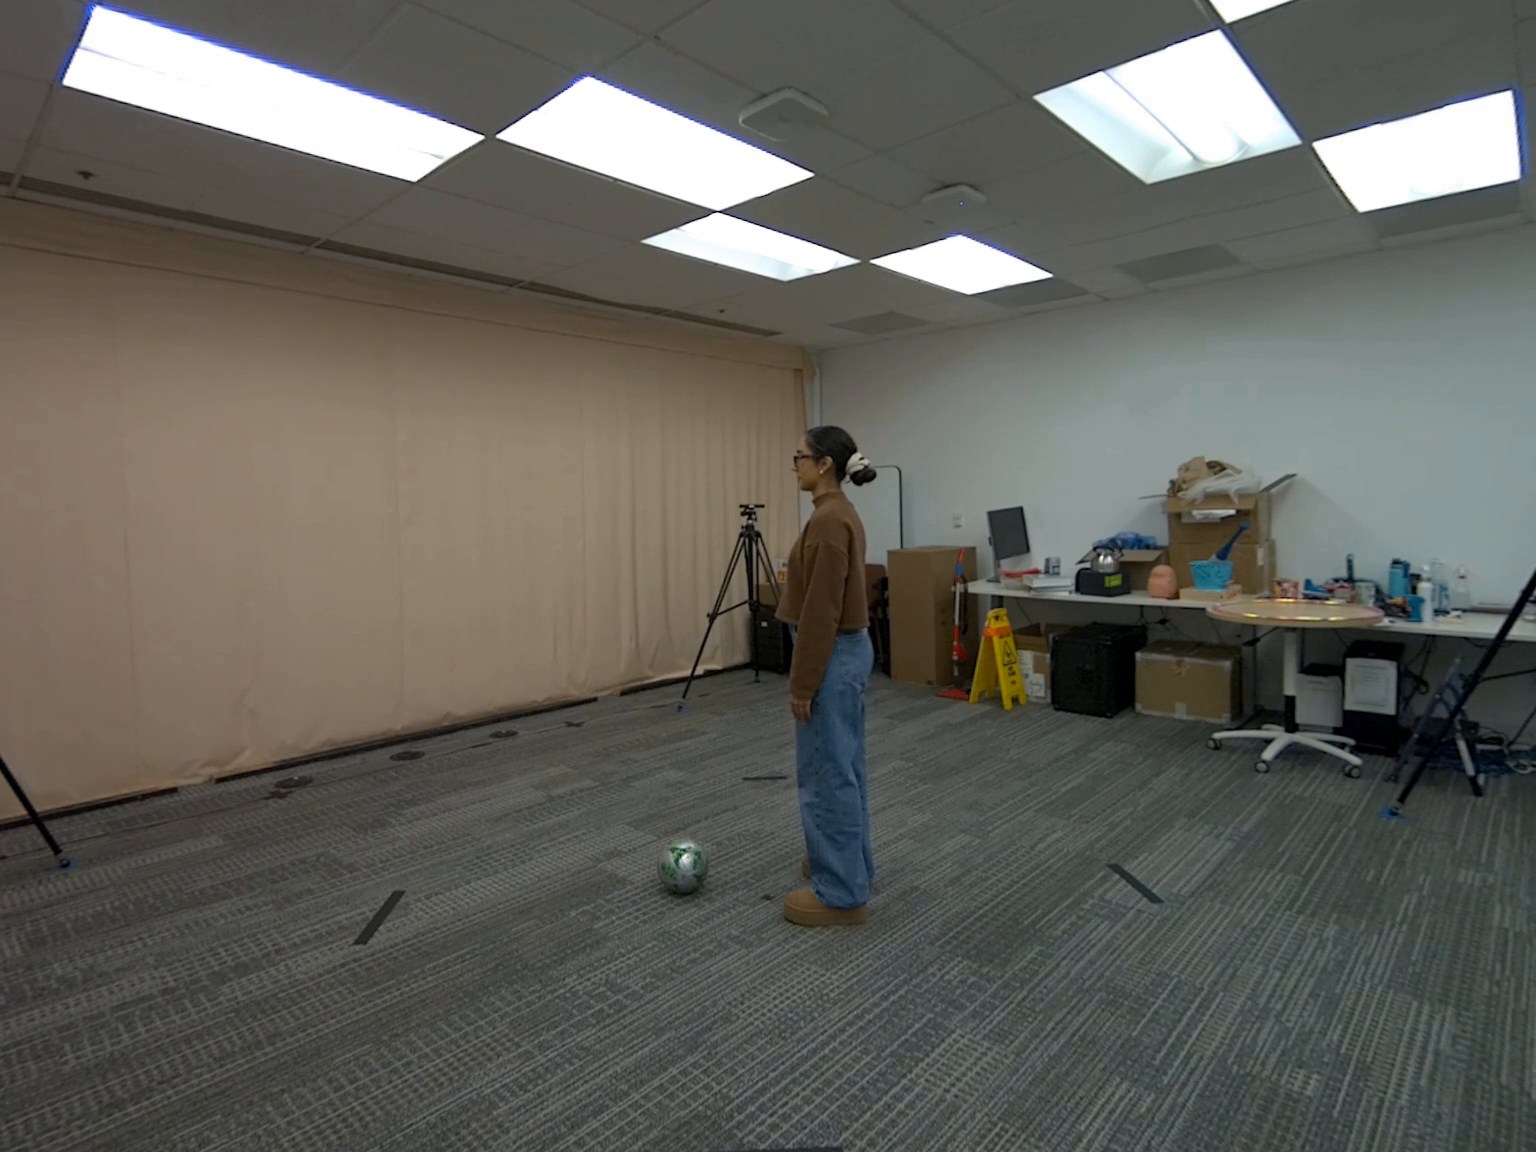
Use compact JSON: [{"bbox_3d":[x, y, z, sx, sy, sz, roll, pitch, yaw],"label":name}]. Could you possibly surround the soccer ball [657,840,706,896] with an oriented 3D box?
[{"bbox_3d":[-0.306,1.049,3.048,0.187,0.187,0.188,-1,4,-2],"label":"soccer ball"}]
